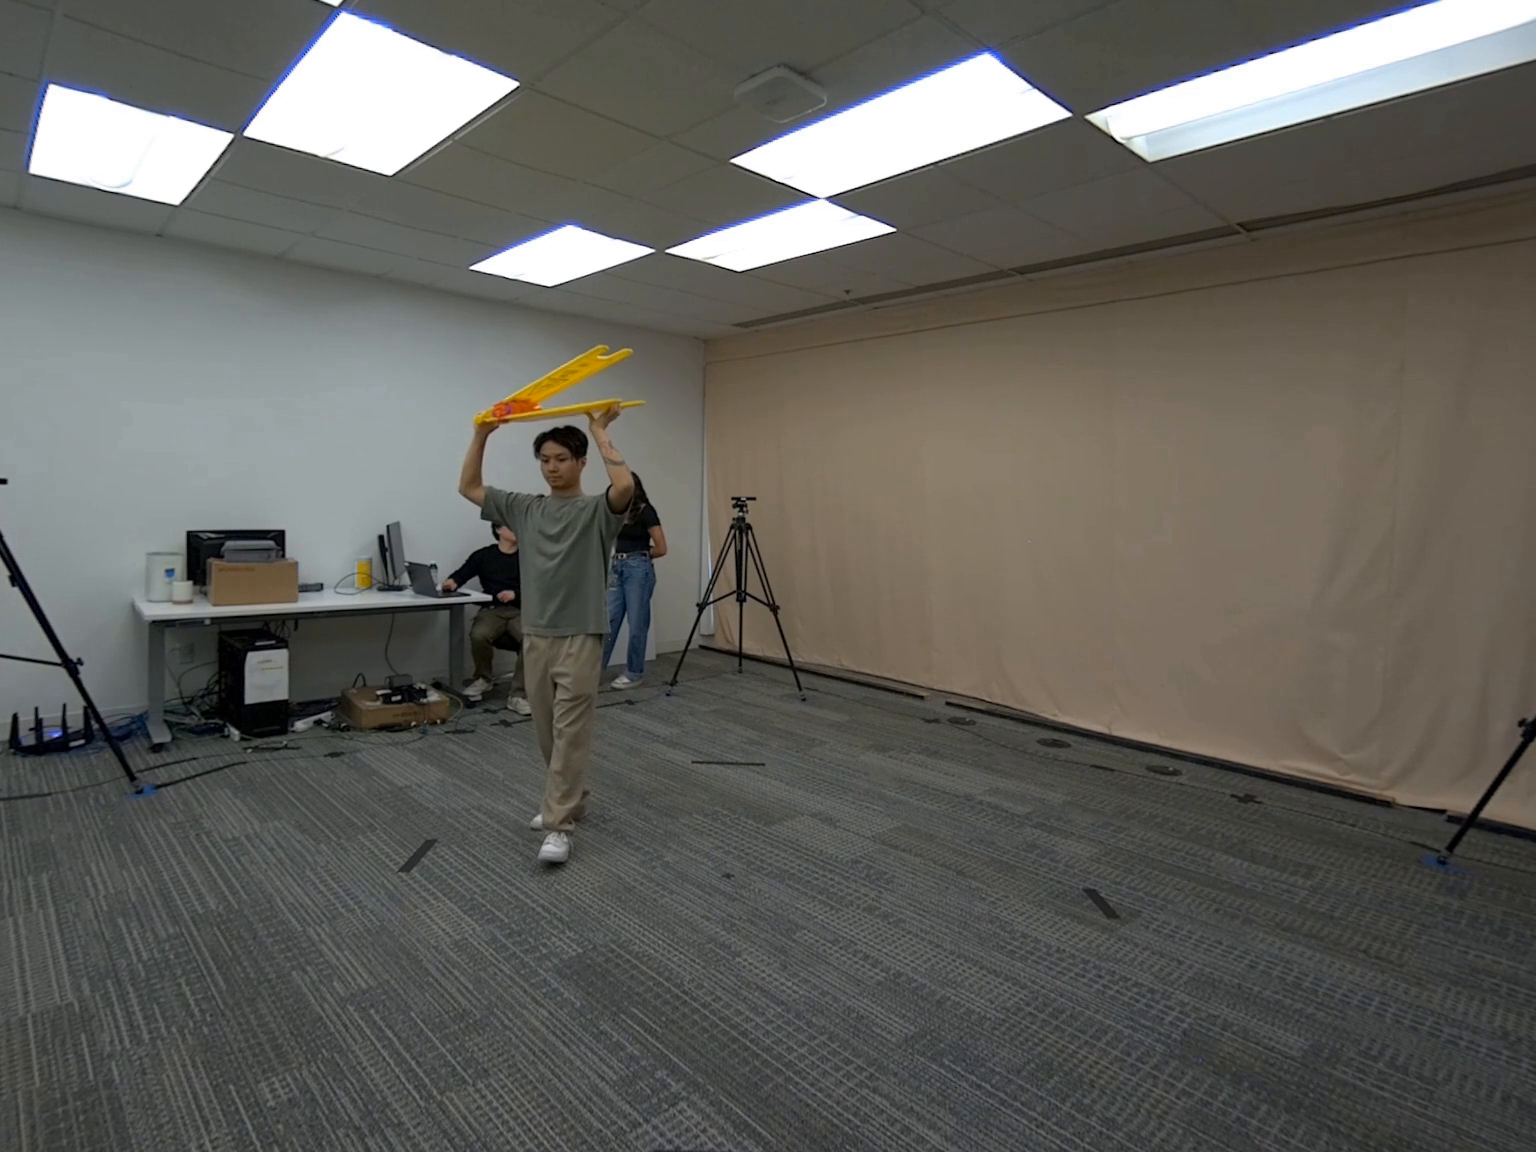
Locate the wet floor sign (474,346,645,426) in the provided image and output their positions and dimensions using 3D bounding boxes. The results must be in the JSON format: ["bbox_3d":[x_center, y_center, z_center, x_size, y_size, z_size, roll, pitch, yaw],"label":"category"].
[{"bbox_3d":[-0.854,-0.697,3.312,0.654,0.289,0.280,-11,5,20],"label":"wet floor sign"}]
